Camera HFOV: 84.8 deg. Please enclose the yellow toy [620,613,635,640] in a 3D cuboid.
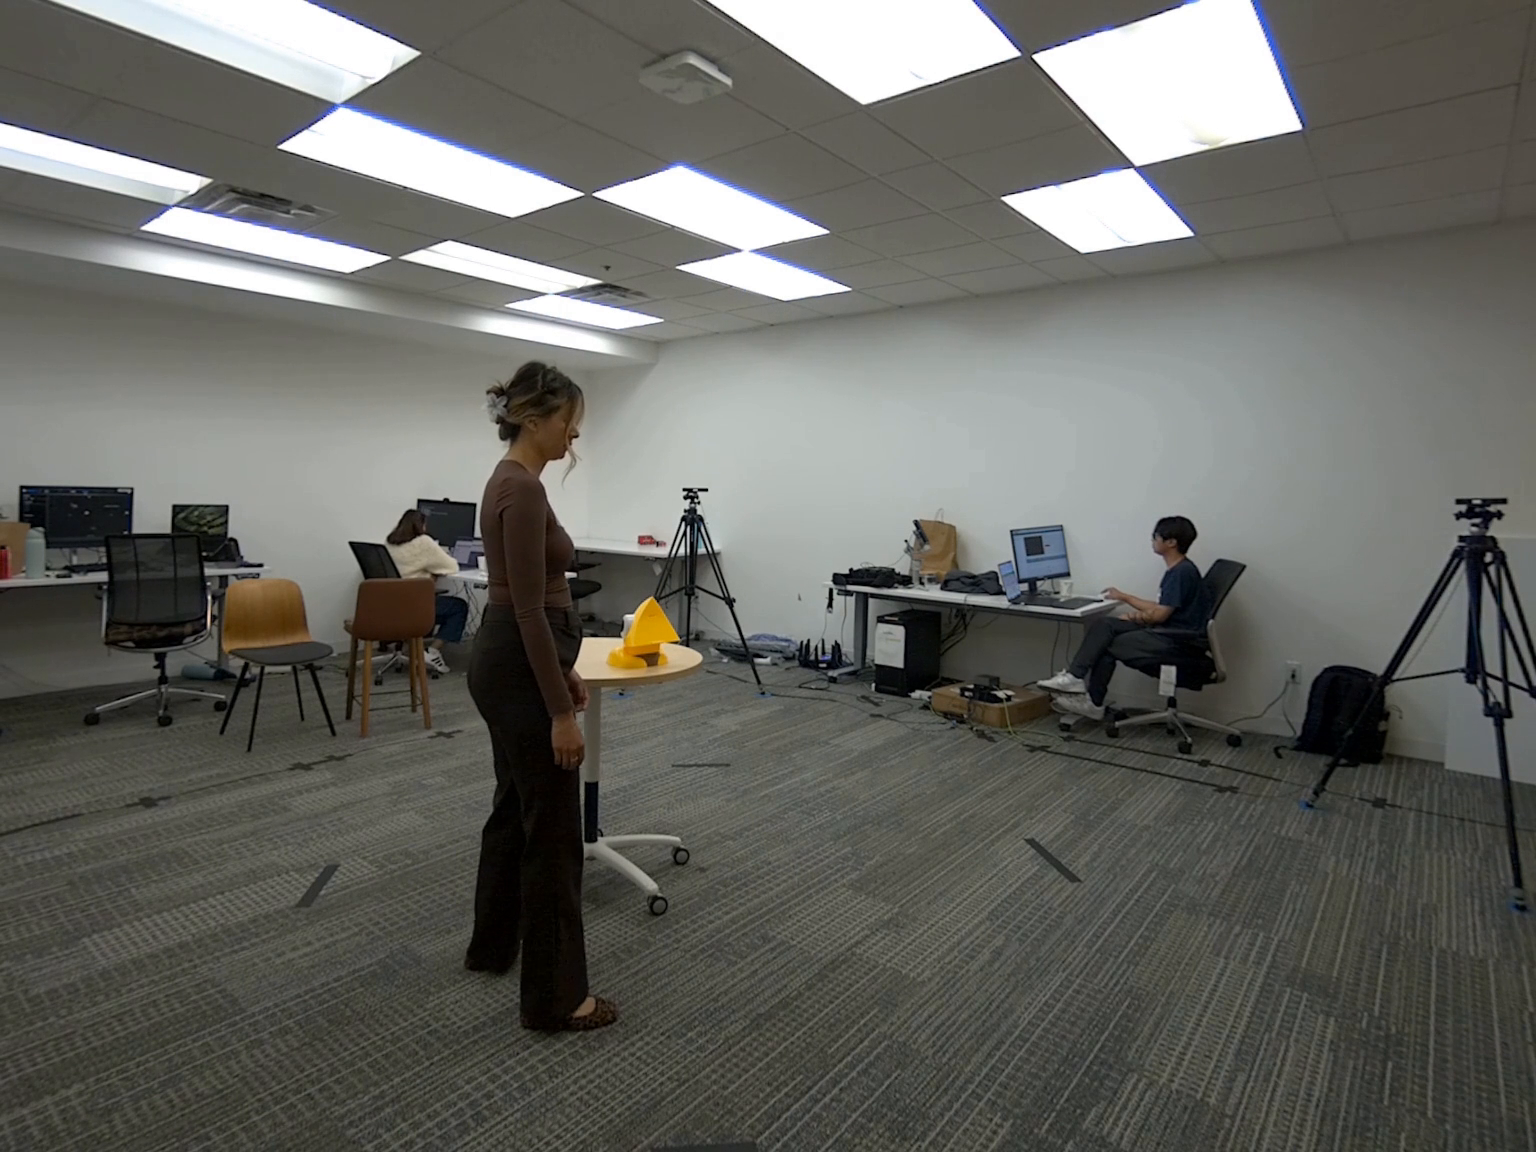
[{"bbox_3d":[-0.435,0.177,2.862,0.199,0.230,0.198,3,4,44],"label":"yellow toy"}]
